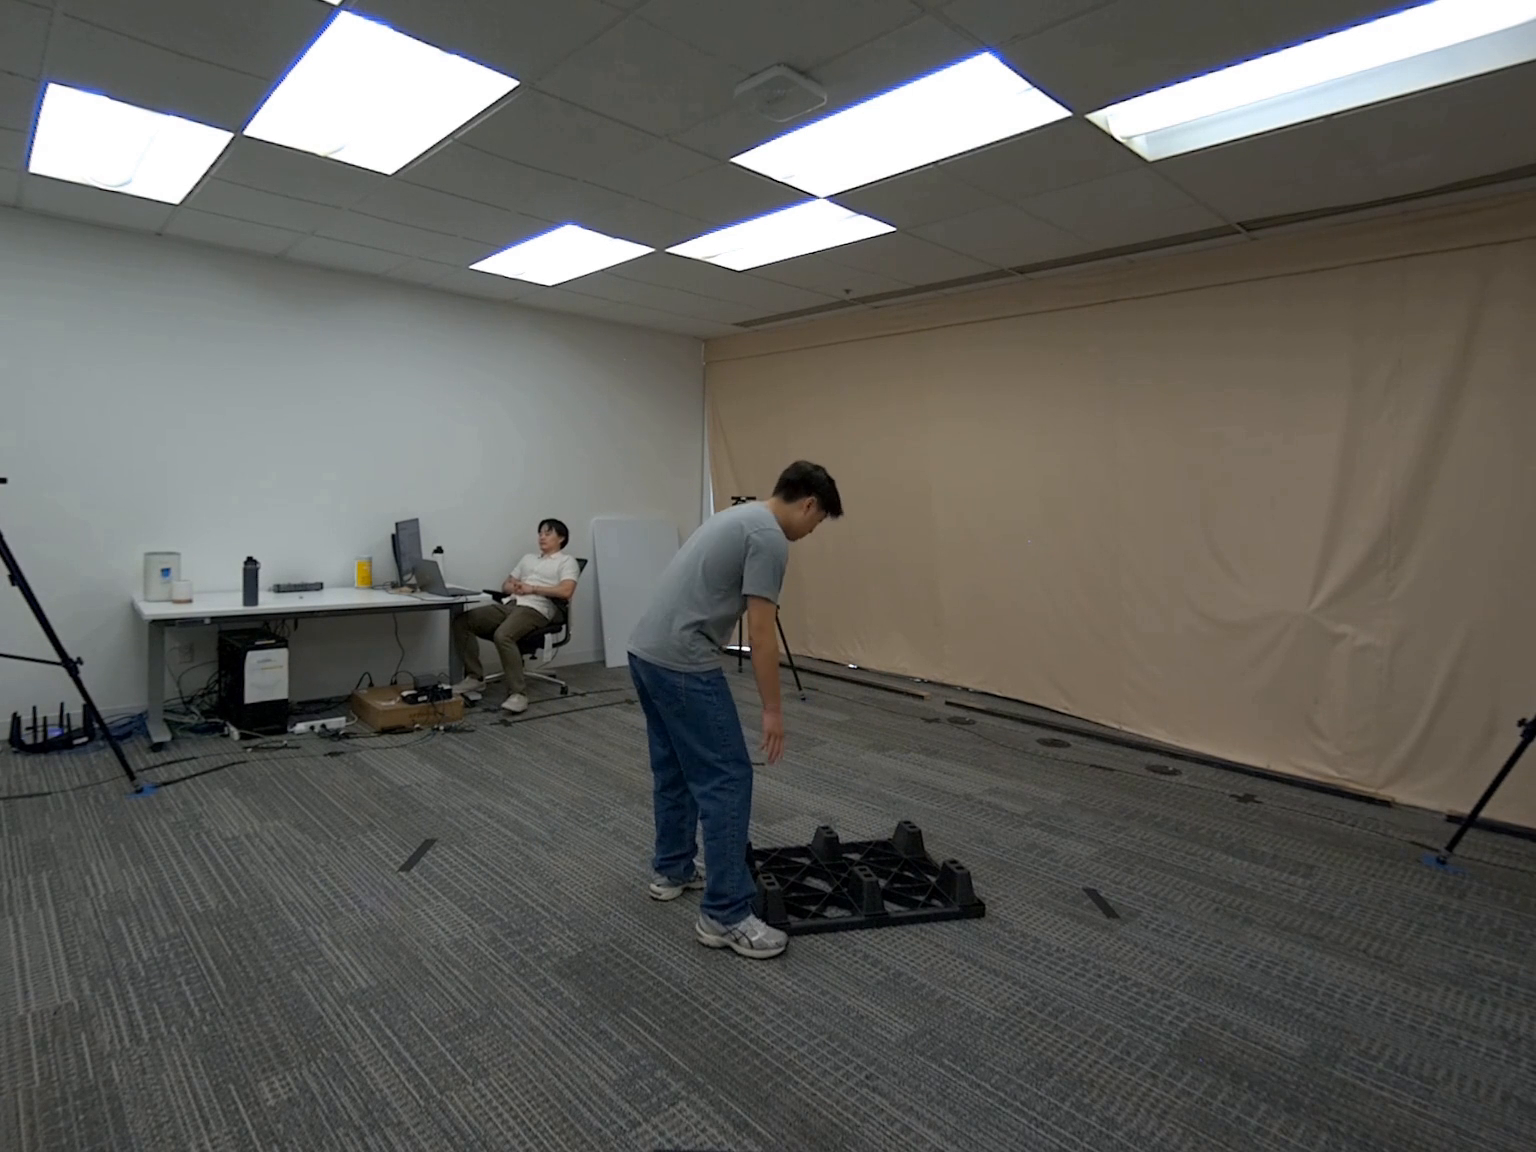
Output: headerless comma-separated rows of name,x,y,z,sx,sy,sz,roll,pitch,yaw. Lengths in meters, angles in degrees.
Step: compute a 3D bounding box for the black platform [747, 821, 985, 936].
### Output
black platform,0.271,1.053,3.037,0.796,0.143,0.614,0,6,-16
